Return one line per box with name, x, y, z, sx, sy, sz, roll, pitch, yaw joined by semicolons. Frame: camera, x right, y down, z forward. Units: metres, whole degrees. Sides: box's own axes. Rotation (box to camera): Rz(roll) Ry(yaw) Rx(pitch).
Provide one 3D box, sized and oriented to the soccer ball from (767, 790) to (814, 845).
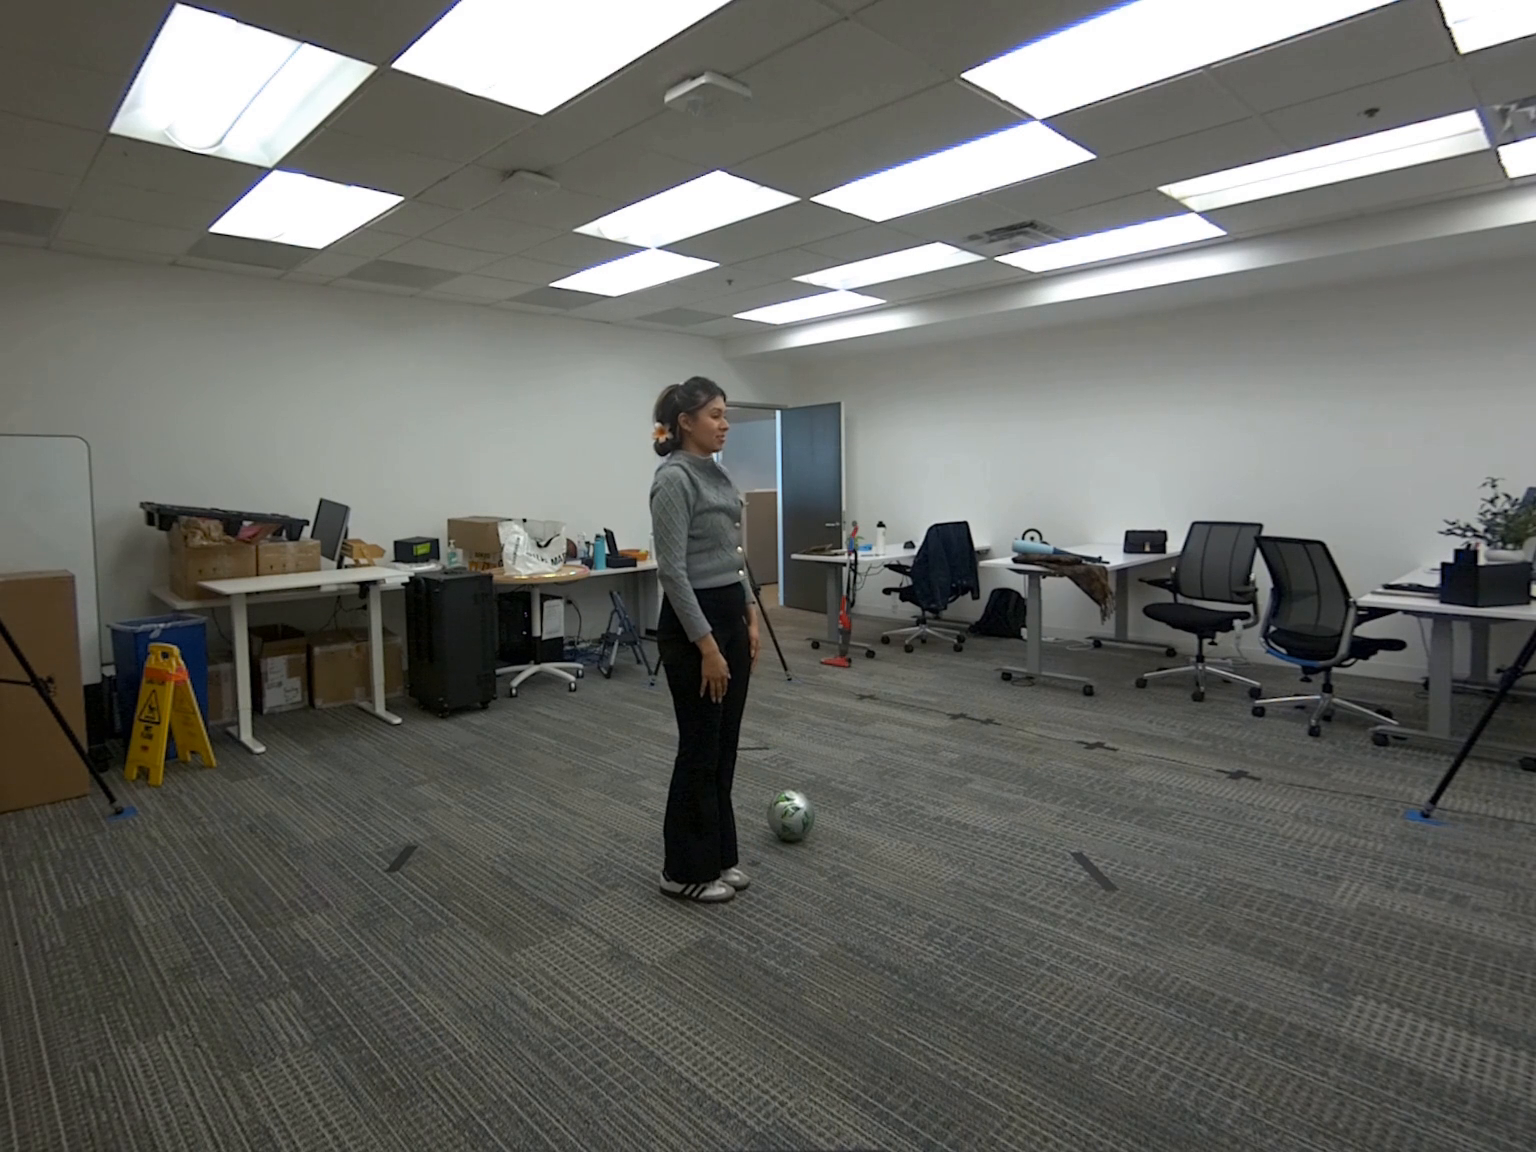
soccer ball;0.086;0.920;3.309;0.187;0.187;0.188;-1;5;-2
